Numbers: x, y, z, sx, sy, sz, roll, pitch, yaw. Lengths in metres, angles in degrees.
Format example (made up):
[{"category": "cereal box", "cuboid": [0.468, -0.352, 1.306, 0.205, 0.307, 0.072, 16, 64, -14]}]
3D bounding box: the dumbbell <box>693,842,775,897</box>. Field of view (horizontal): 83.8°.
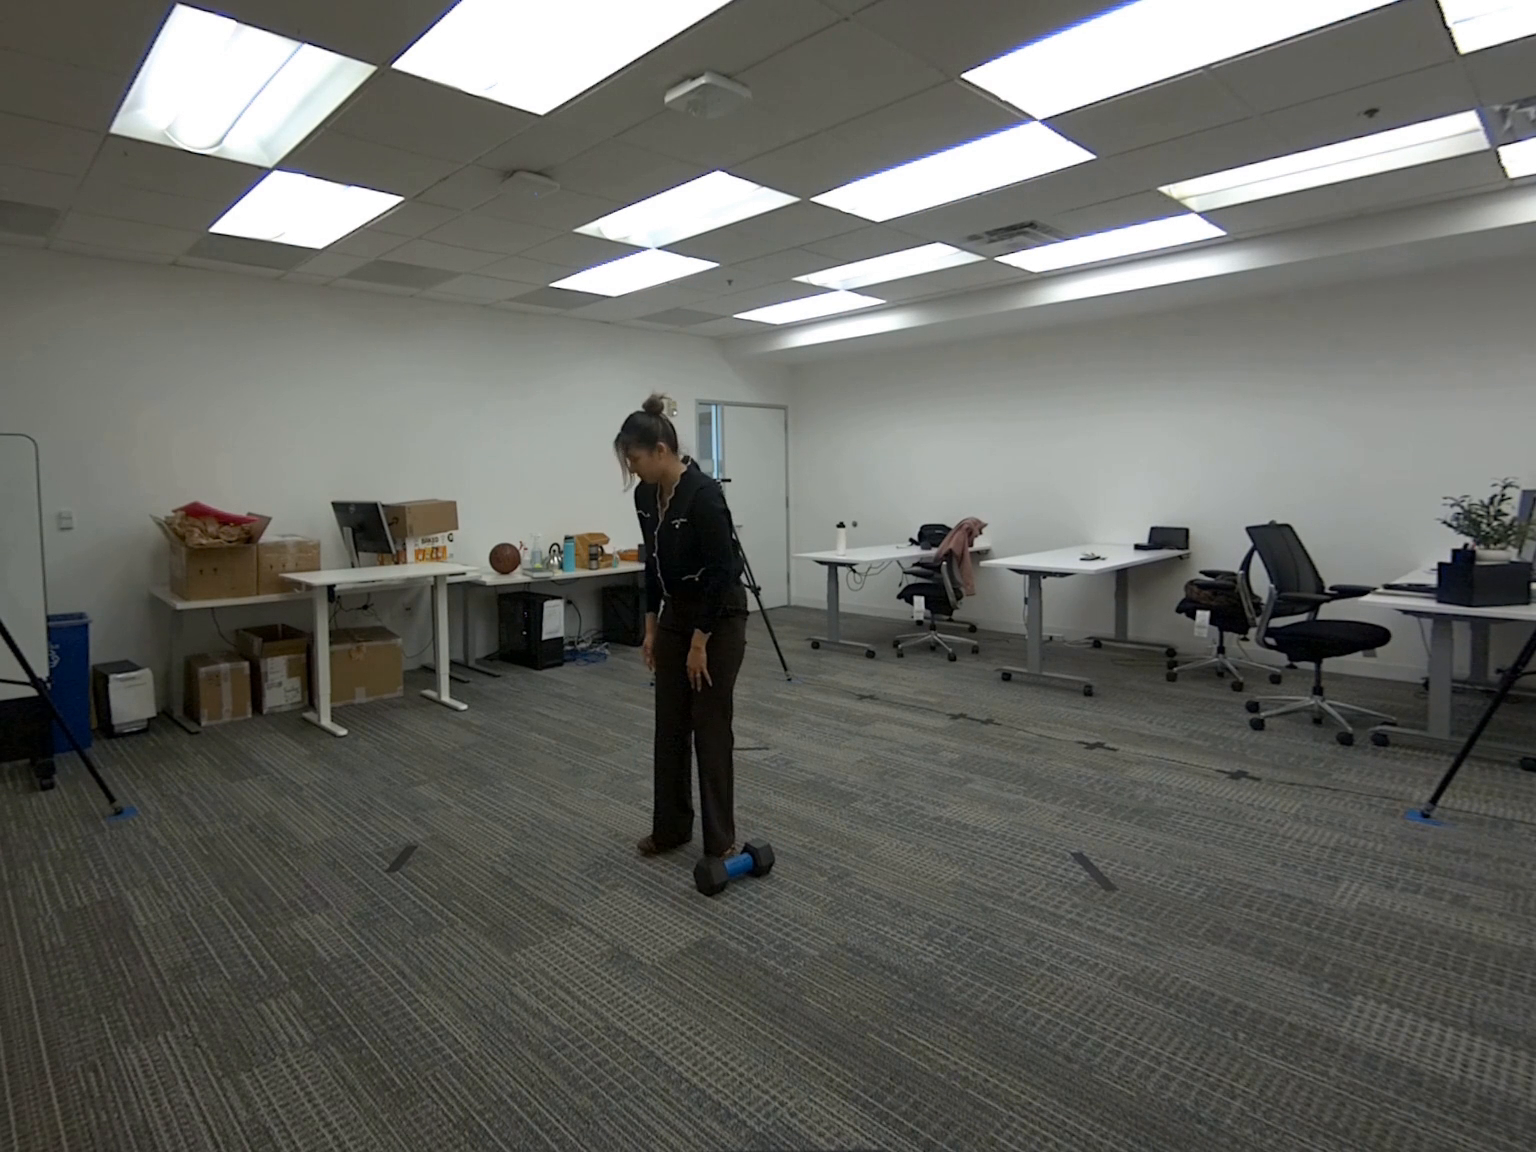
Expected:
[{"category": "dumbbell", "cuboid": [-0.112, 1.008, 2.963, 0.286, 0.108, 0.127, -4, 6, -41]}]
